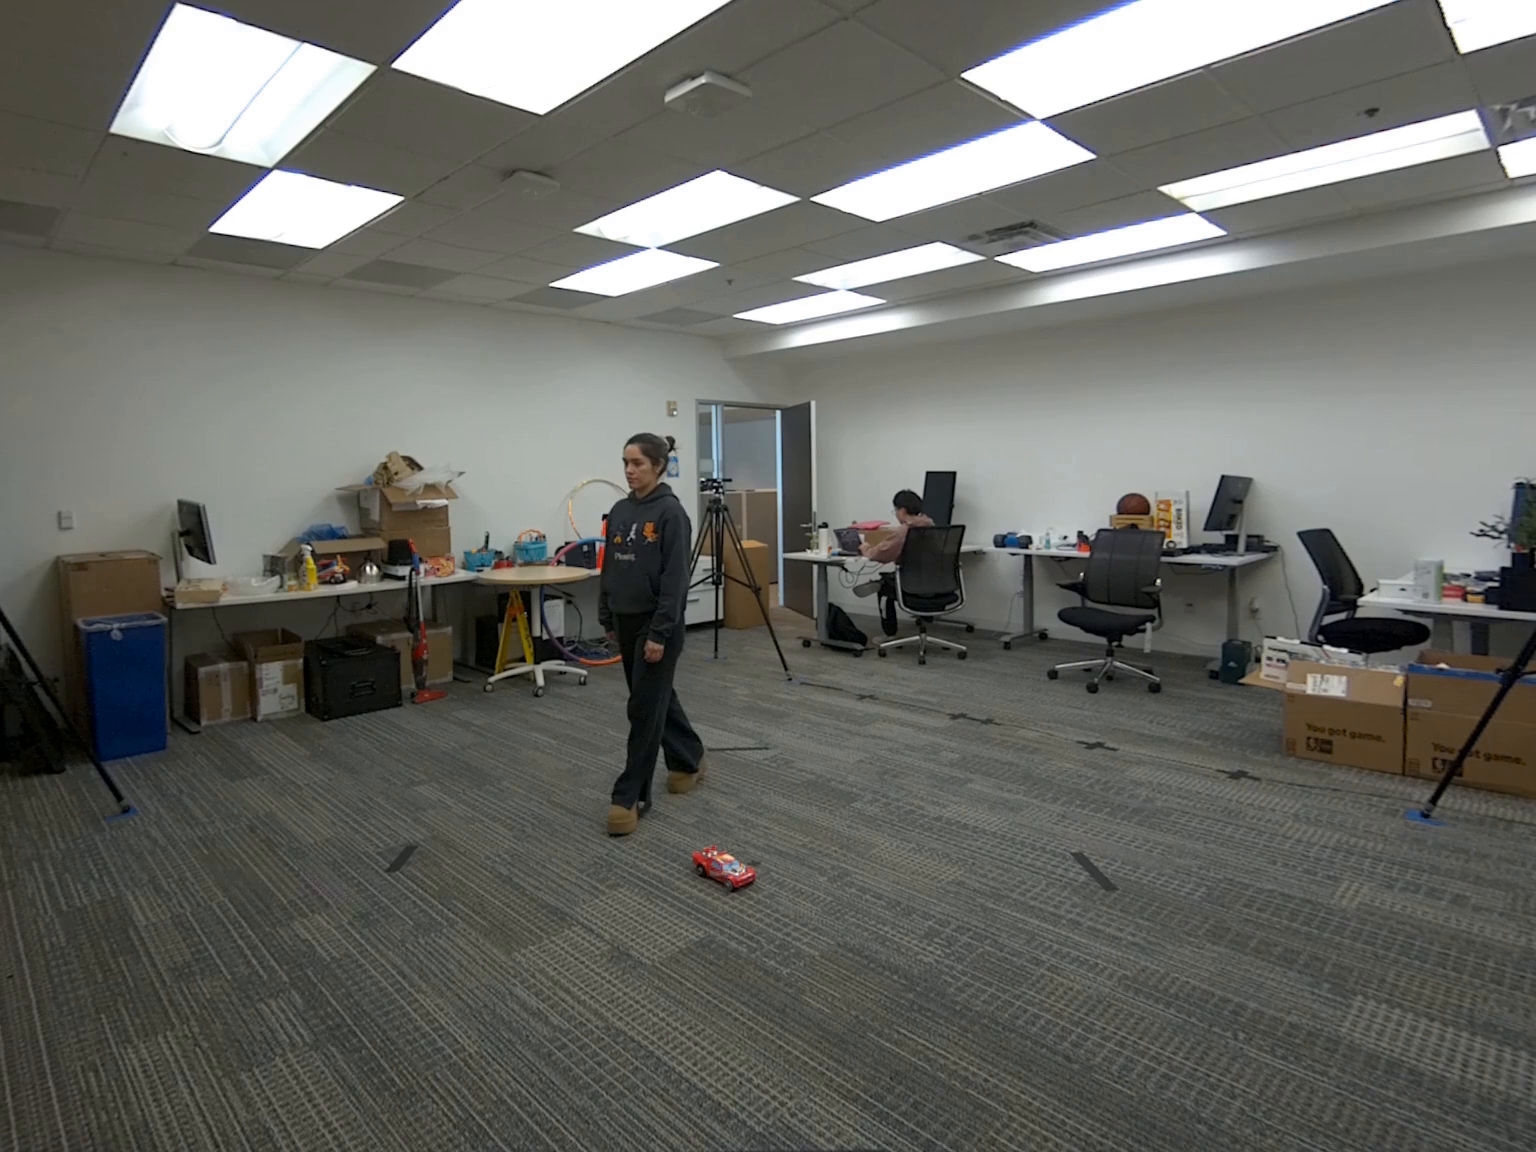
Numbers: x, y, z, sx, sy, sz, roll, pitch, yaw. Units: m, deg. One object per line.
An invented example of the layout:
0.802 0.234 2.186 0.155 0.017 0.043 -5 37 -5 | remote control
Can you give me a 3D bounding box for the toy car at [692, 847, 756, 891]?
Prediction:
-0.159 1.027 2.989 0.127 0.082 0.264 -6 18 -41 | toy car
